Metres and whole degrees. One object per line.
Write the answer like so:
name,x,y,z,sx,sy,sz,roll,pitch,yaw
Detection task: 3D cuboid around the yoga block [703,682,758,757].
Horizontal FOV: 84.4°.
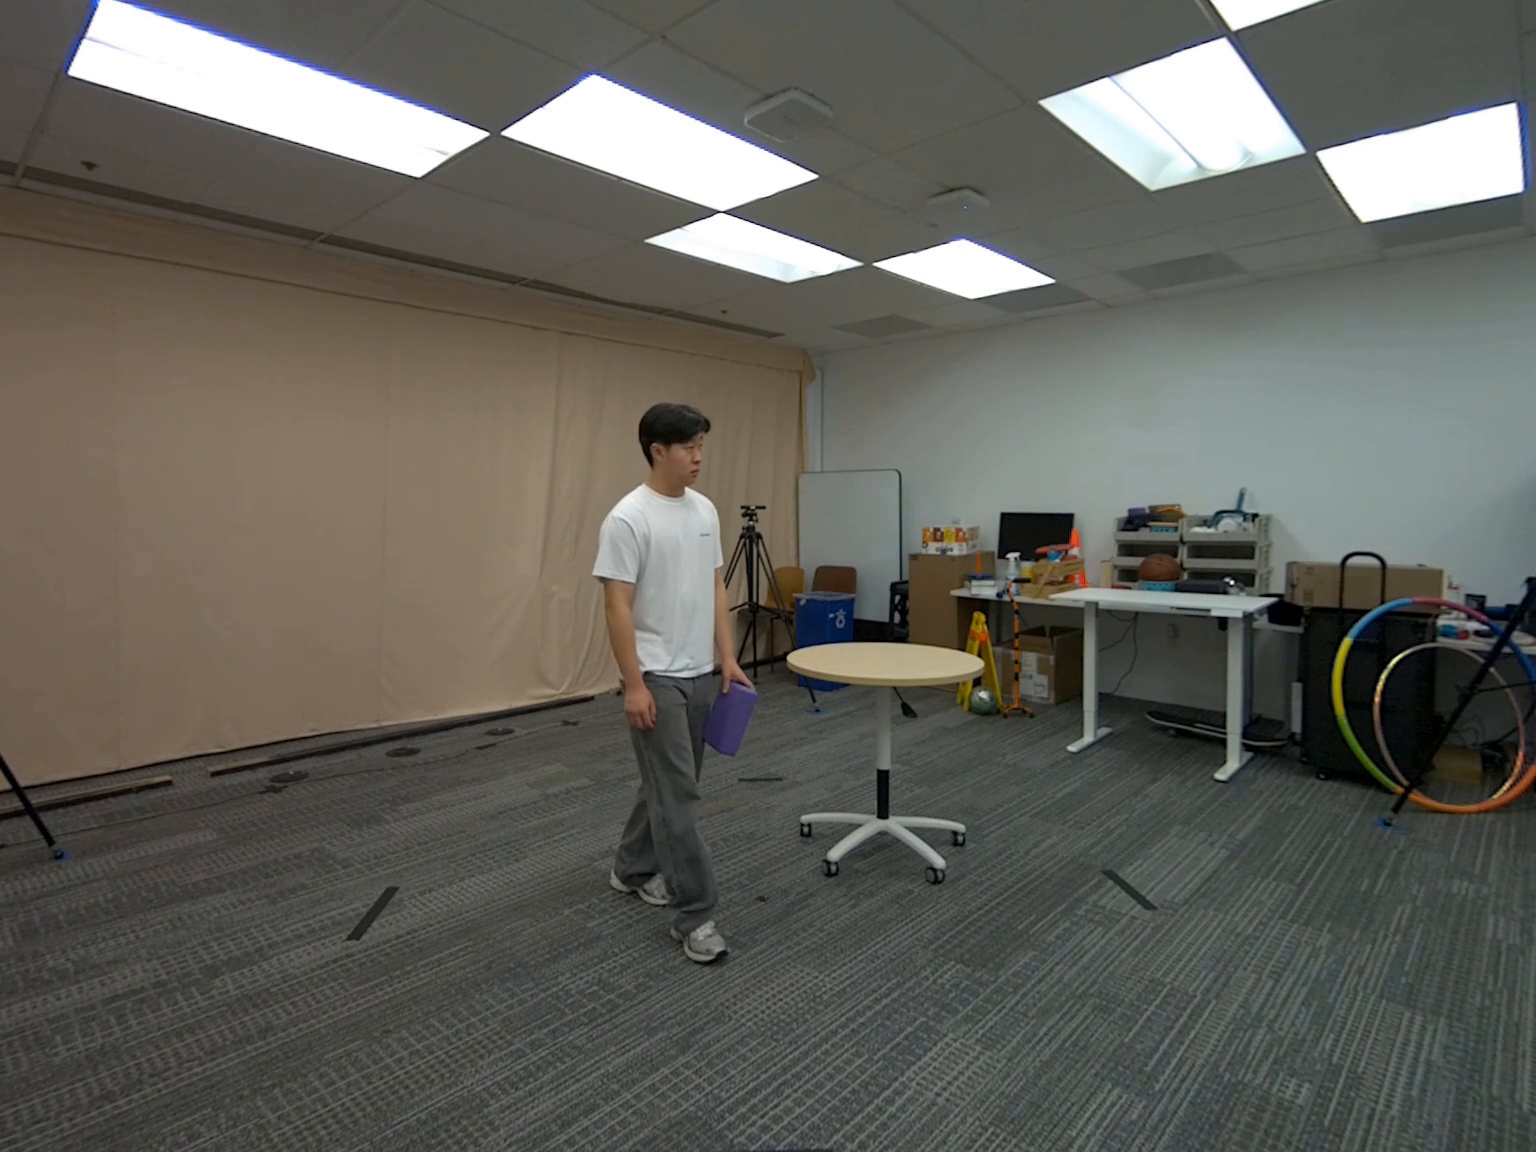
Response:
yoga block,-0.114,0.483,2.881,0.074,0.229,0.153,18,-2,-28
